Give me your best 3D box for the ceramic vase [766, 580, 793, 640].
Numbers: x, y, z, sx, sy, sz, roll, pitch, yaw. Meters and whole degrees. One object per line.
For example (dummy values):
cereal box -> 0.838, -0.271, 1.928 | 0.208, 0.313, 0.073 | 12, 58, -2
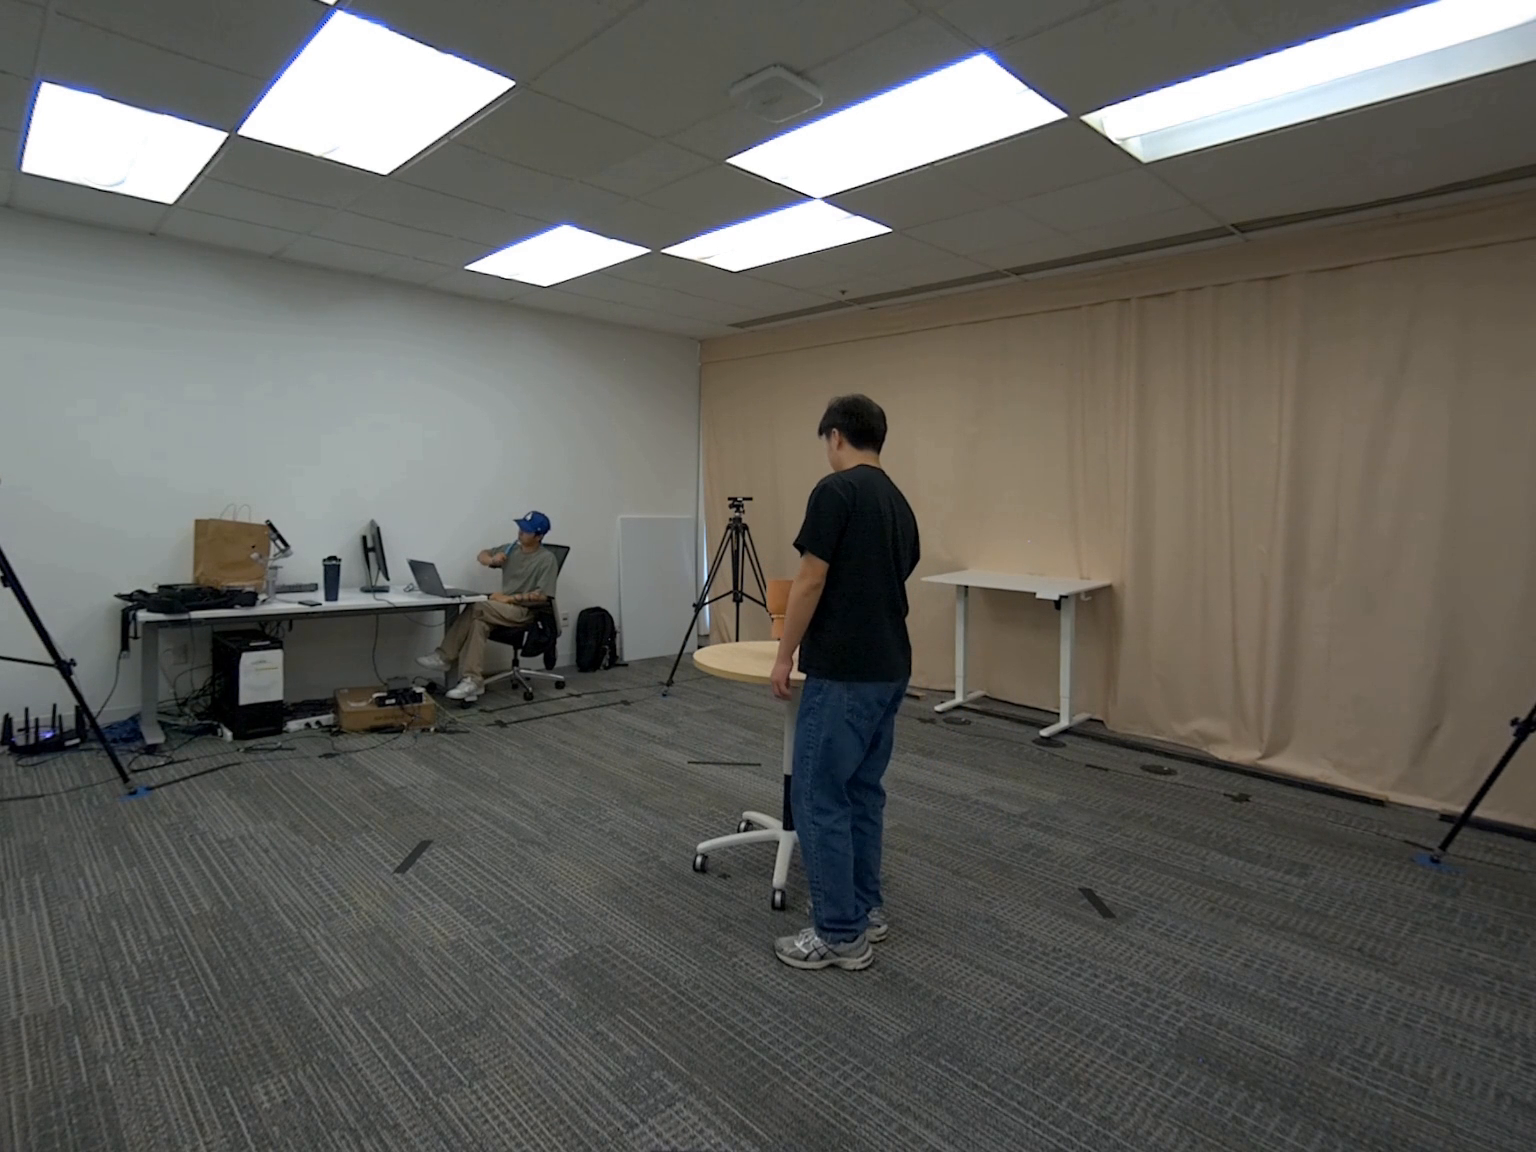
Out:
ceramic vase -> 0.051, 0.125, 3.202 | 0.135, 0.220, 0.158 | 0, -2, 5
